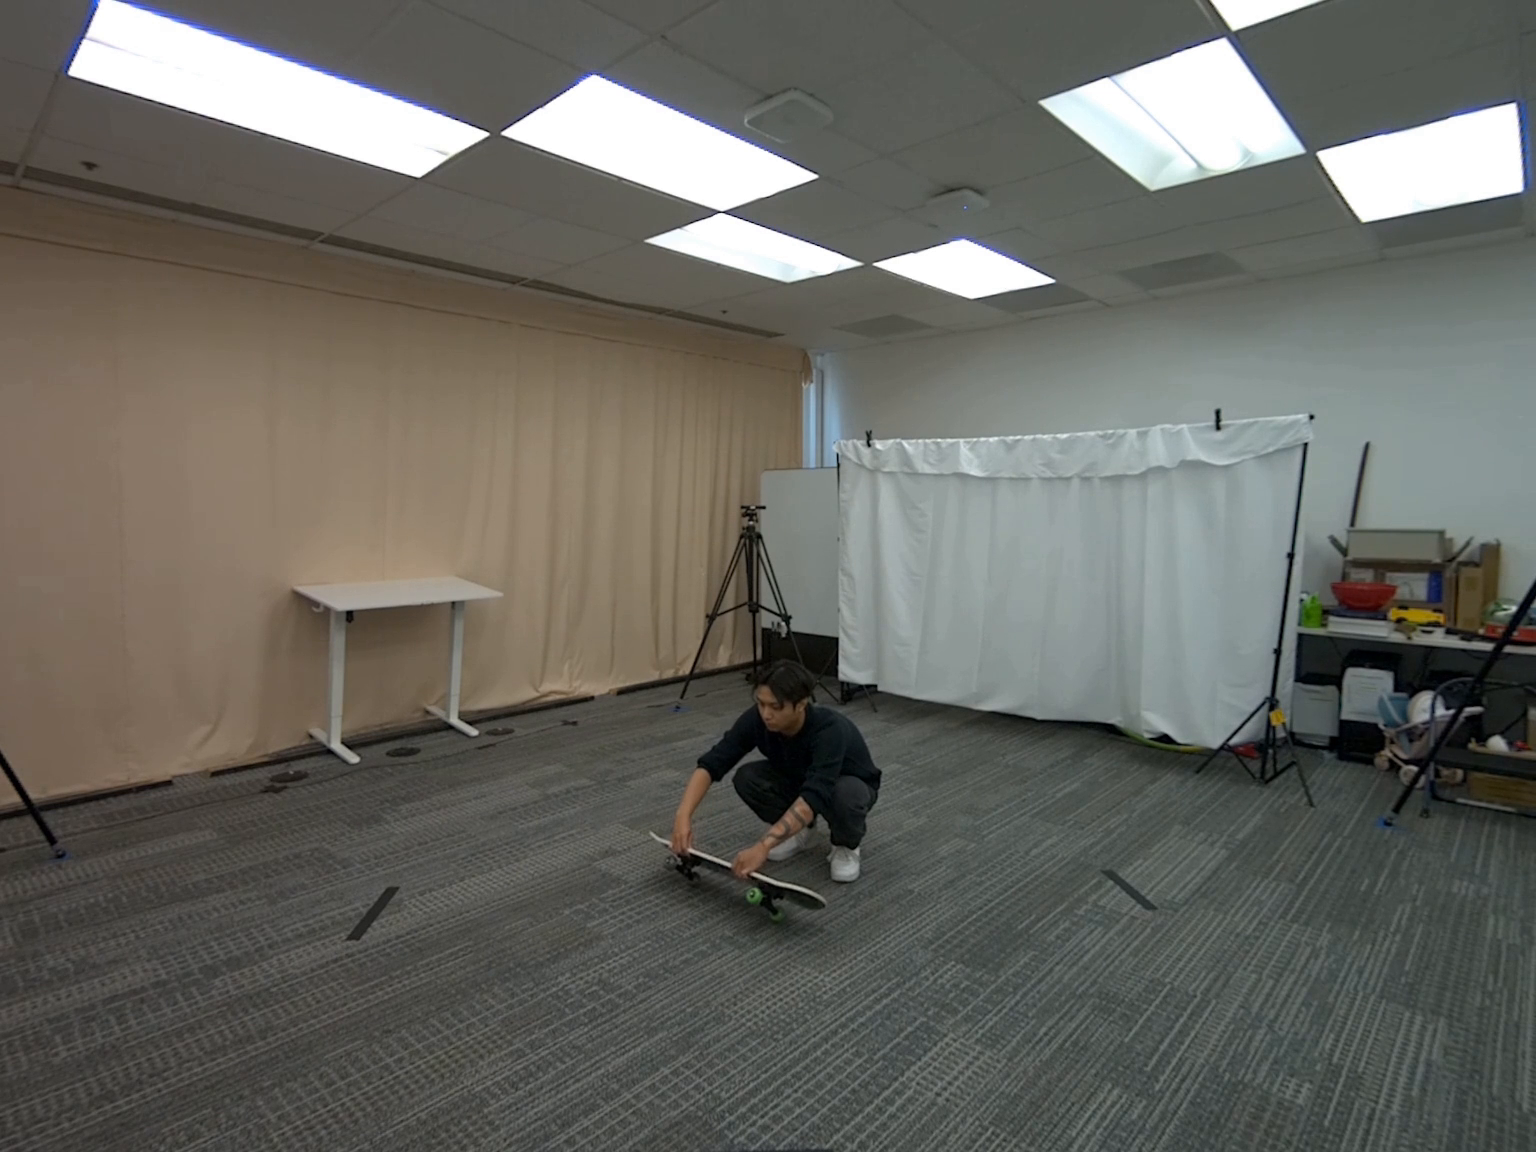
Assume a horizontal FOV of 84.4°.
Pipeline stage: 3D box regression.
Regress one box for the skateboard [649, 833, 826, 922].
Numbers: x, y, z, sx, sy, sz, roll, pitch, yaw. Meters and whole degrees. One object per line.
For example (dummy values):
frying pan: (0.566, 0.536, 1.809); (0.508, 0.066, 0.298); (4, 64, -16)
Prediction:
skateboard: (-0.149, 1.047, 2.917); (0.812, 0.110, 0.187); (4, -37, 42)
